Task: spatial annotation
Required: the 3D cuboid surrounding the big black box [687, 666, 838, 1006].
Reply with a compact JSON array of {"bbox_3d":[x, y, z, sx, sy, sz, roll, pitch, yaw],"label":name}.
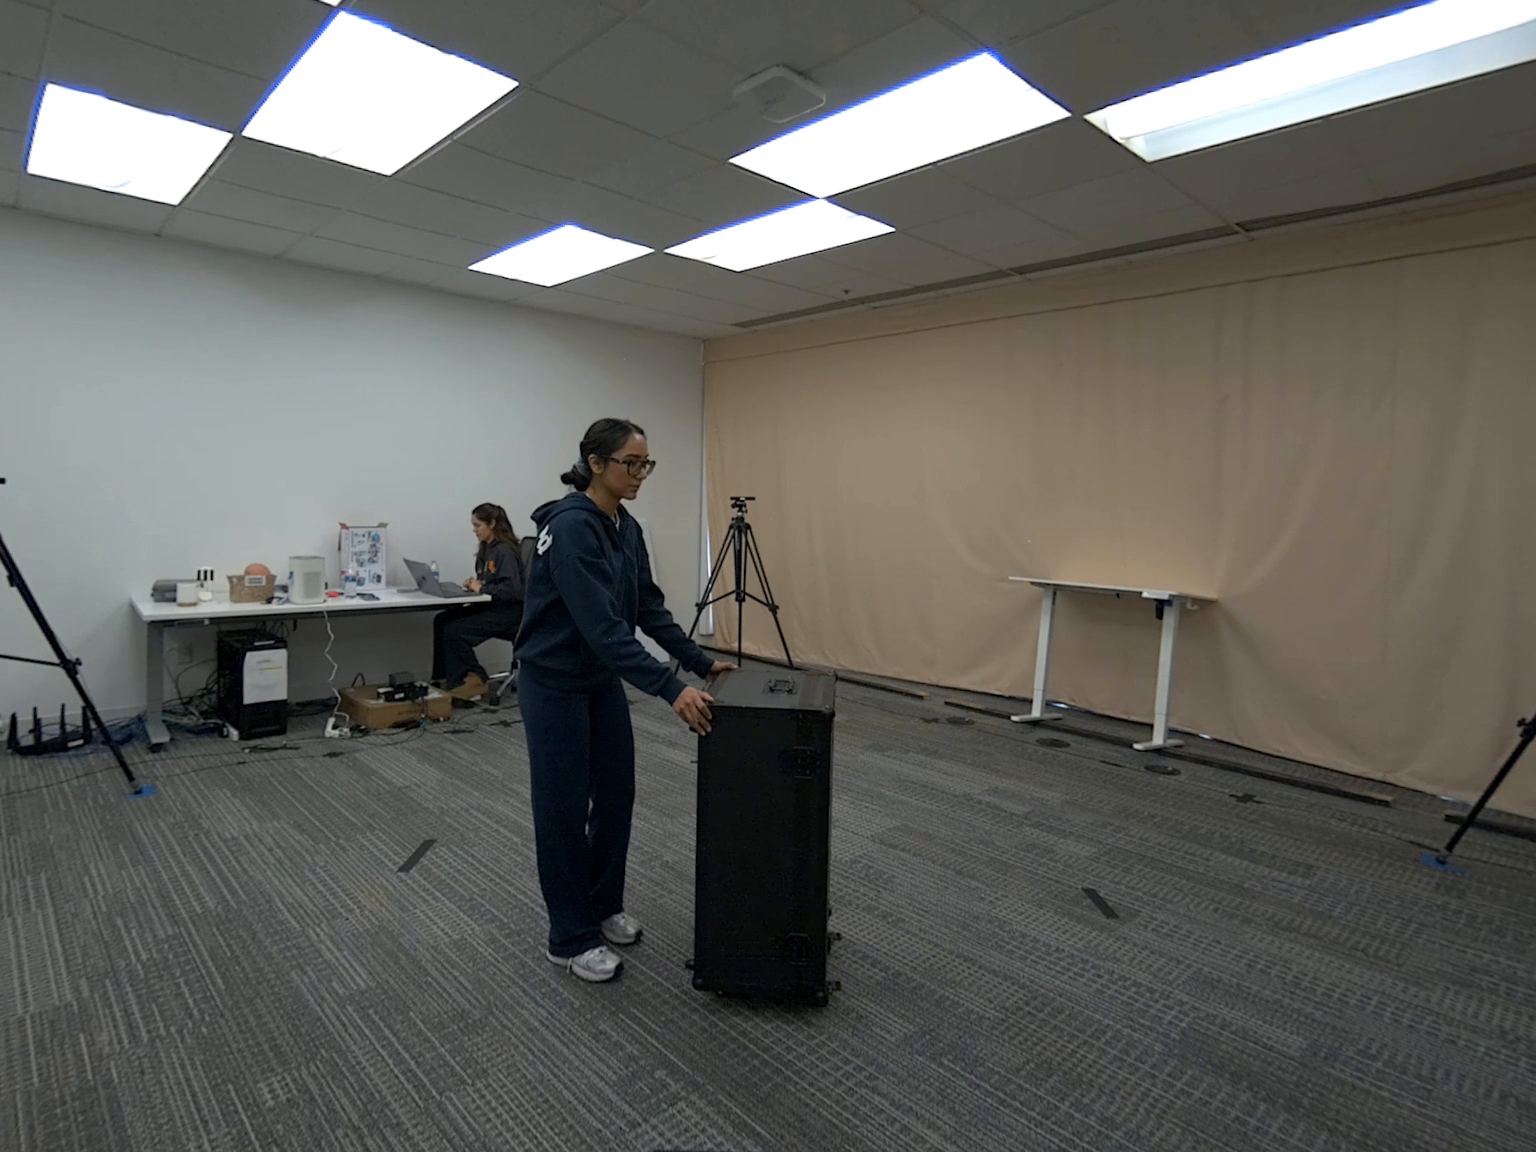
[{"bbox_3d":[-0.008,0.744,2.448,0.399,0.859,0.519,1,3,7],"label":"big black box"}]
